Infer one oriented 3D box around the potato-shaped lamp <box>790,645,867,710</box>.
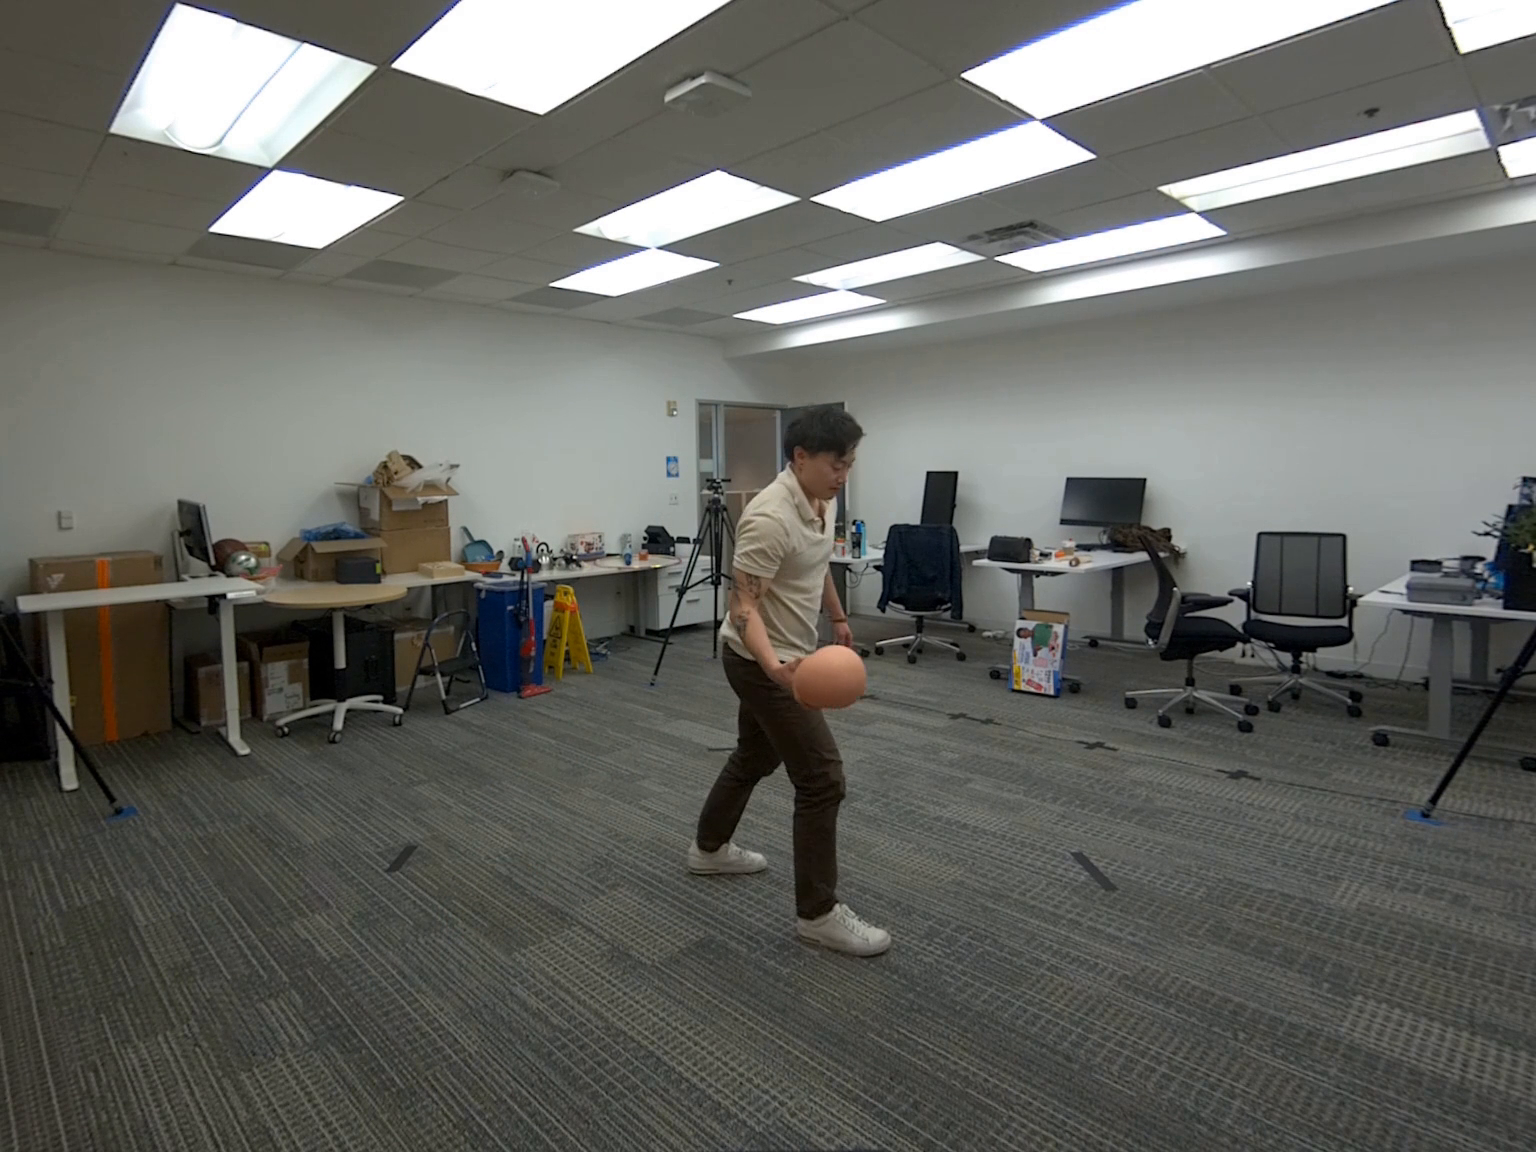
[{"bbox_3d":[0.153,0.273,2.220,0.193,0.166,0.174,-7,-11,-43],"label":"potato-shaped lamp"}]
